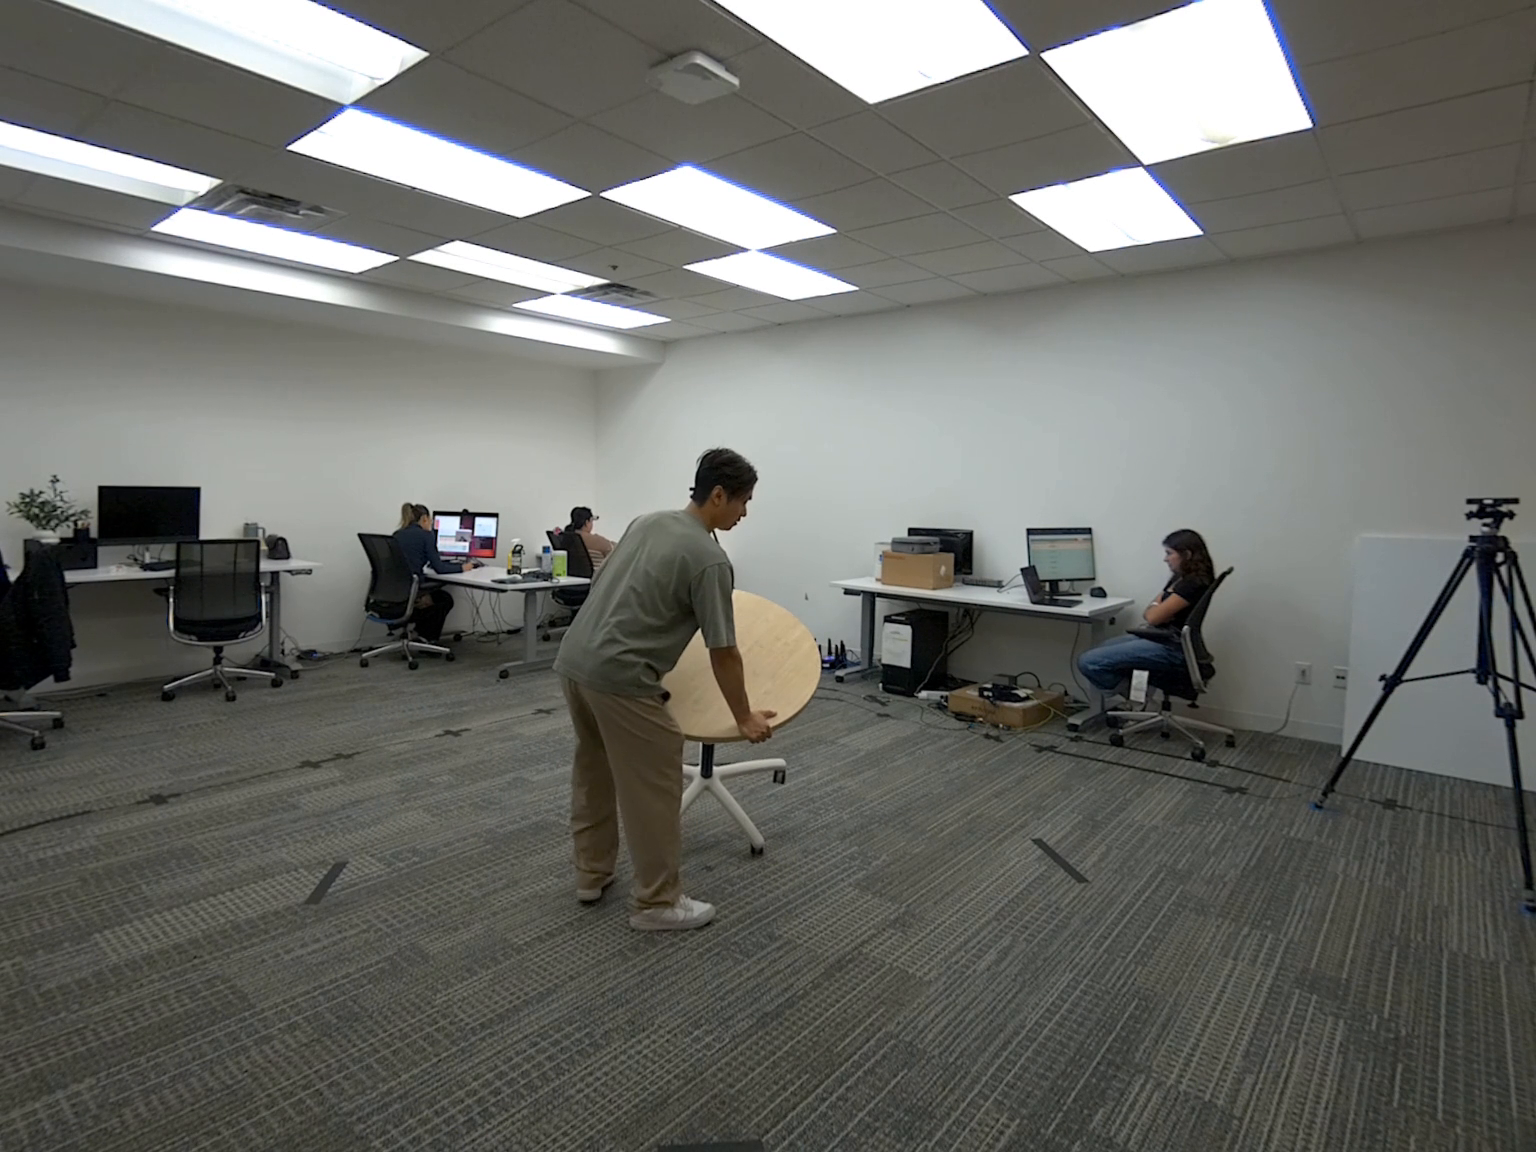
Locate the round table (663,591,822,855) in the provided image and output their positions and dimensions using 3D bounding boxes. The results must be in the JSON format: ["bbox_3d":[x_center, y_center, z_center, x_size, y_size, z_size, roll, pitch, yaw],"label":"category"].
[{"bbox_3d":[-0.233,0.577,3.259,0.783,0.767,0.807,2,36,-3],"label":"round table"}]
